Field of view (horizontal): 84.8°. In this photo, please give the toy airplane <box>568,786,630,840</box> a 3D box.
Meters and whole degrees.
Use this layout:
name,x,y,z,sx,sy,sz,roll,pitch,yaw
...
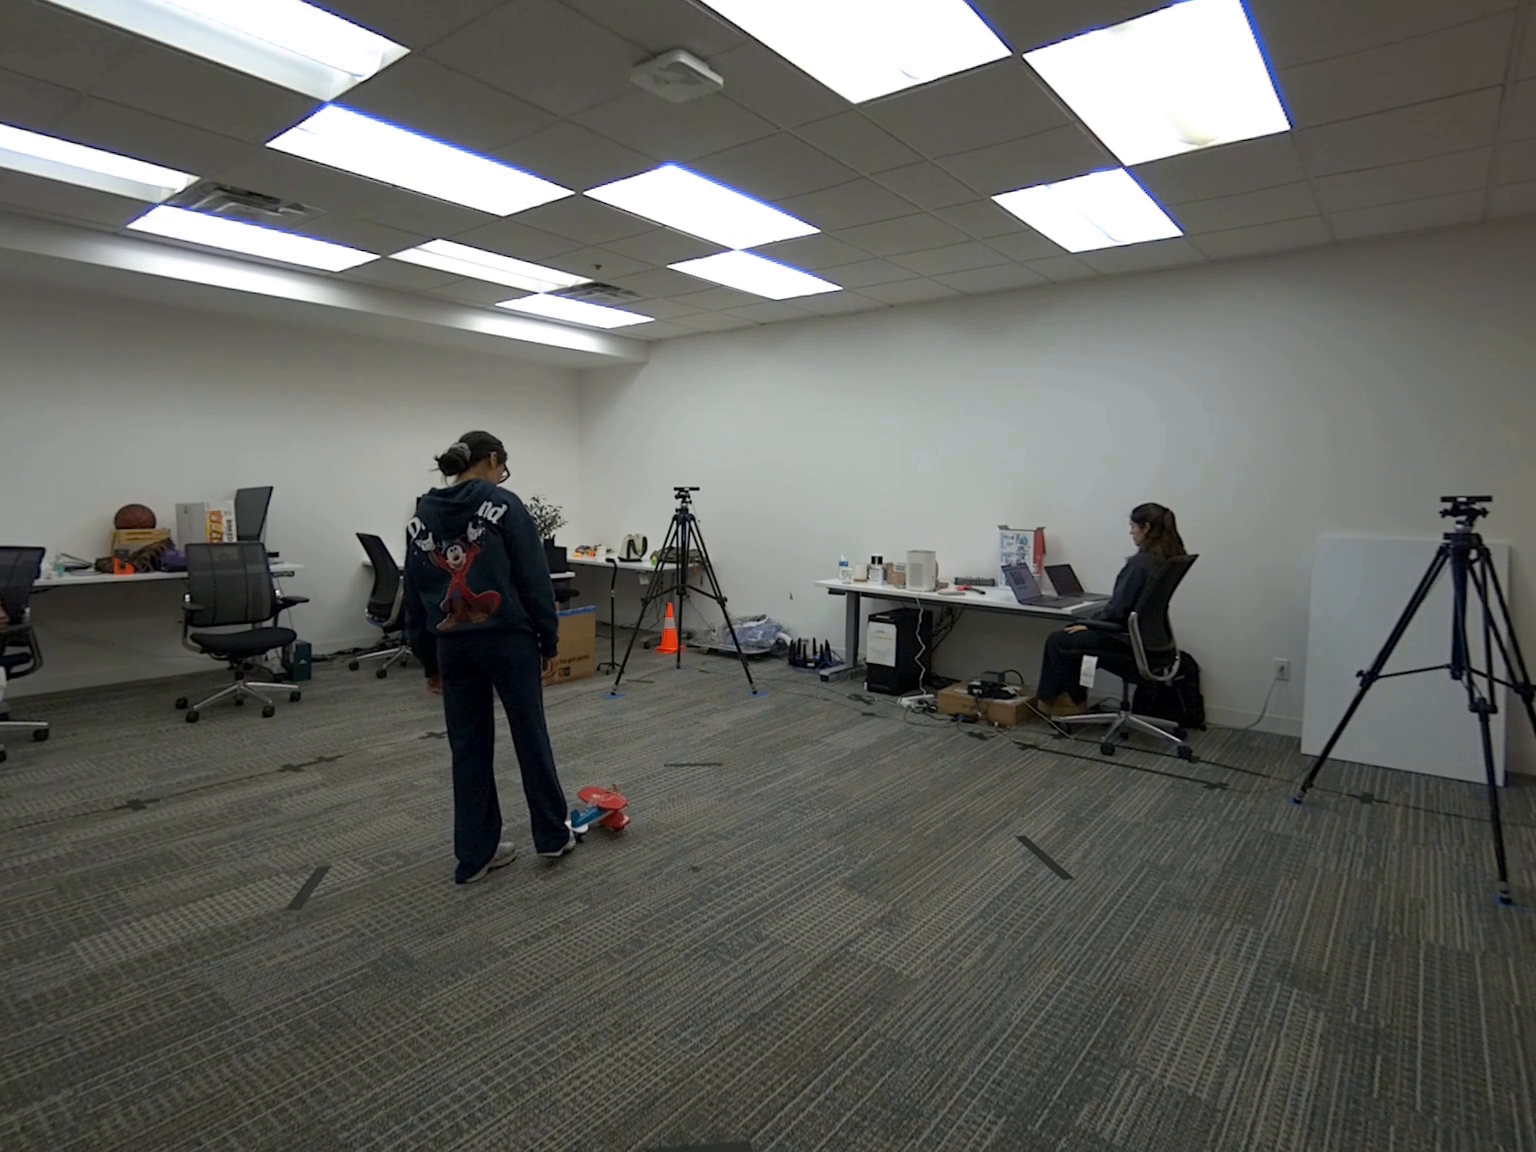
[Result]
name,x,y,z,sx,sy,sz,roll,pitch,yaw
toy airplane,-0.681,0.955,3.395,0.254,0.156,0.256,2,3,10
